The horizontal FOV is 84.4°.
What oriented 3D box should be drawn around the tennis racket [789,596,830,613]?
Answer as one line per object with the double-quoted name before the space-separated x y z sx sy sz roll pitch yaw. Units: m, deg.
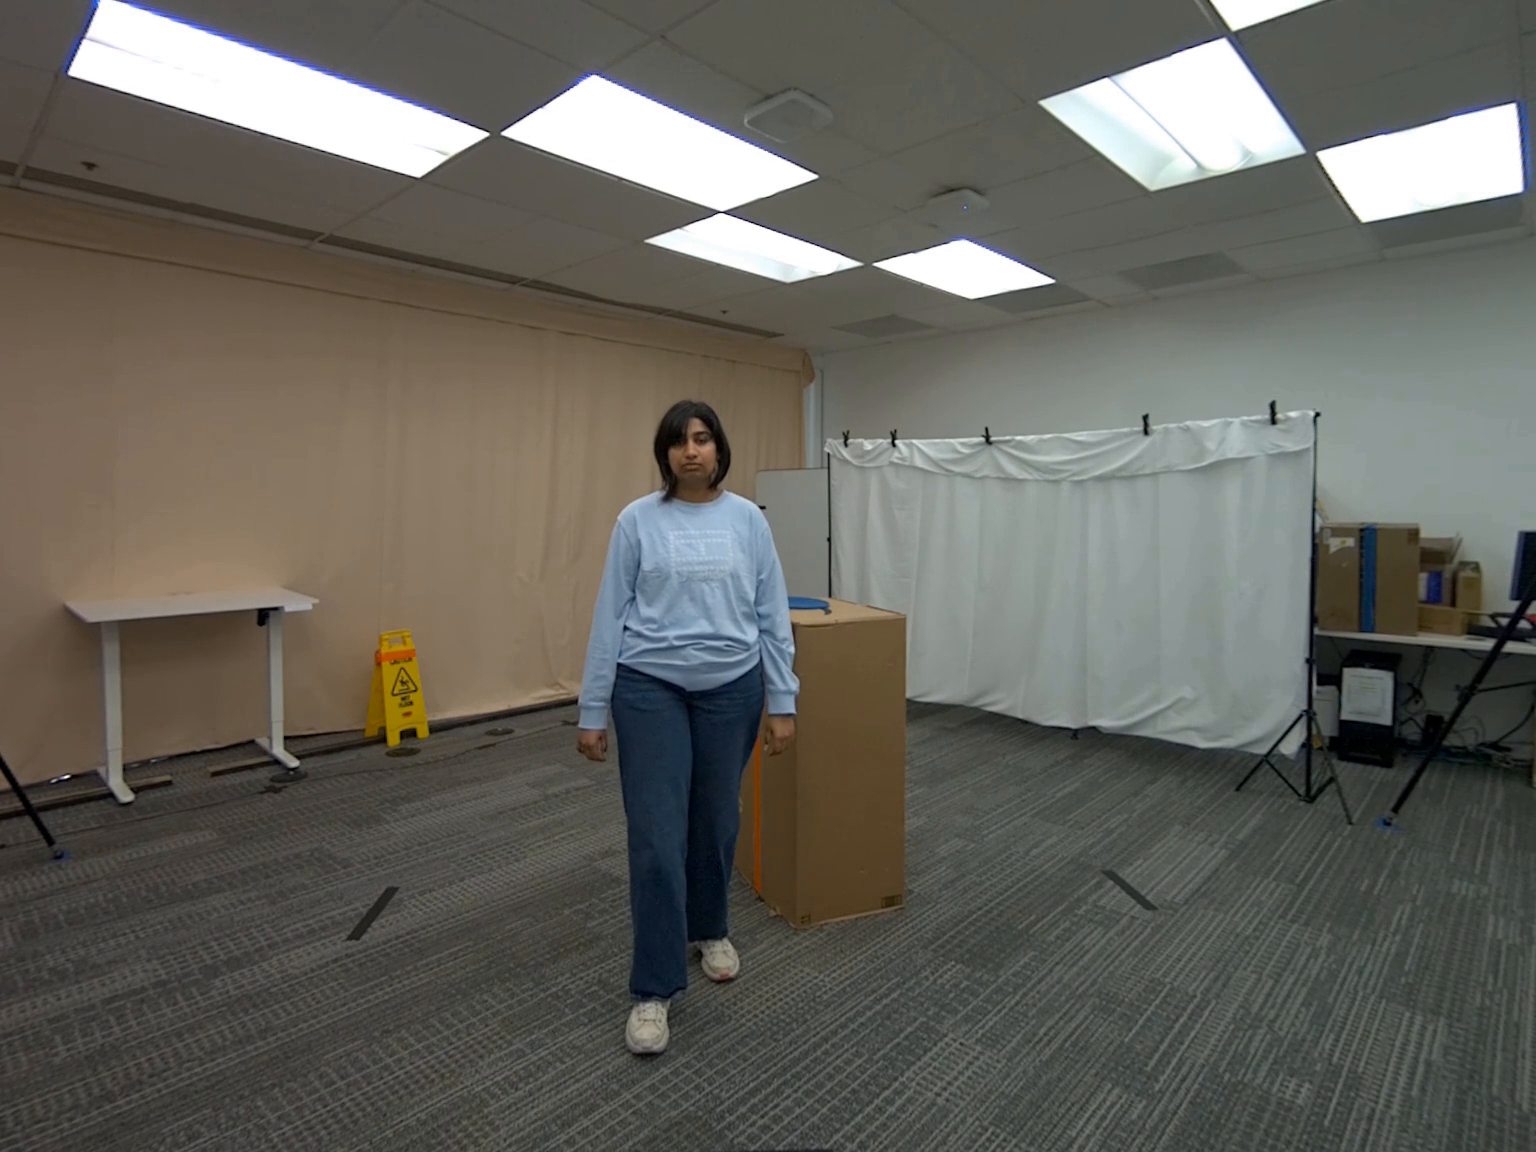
"tennis racket" 0.060 0.091 3.172 0.207 0.031 0.448 -4 9 -39
